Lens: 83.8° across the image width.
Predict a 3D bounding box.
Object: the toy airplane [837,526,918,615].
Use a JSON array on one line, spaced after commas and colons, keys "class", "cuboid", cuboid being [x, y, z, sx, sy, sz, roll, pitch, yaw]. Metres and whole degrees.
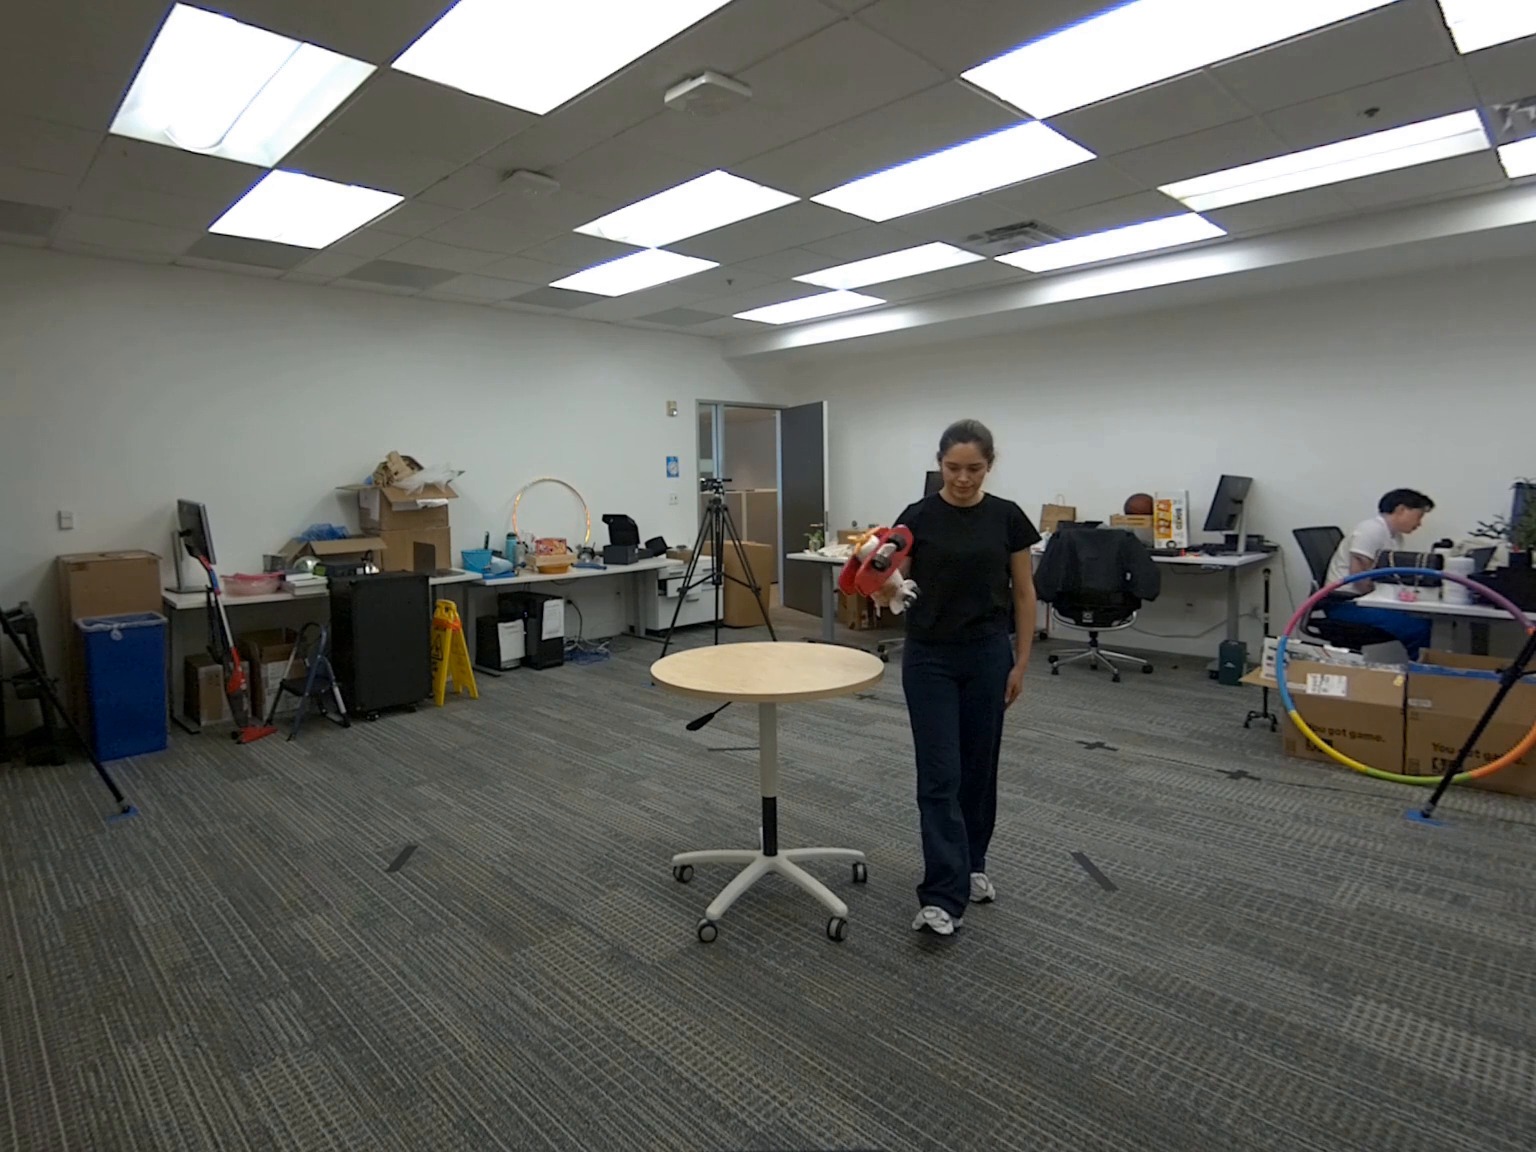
[{"class": "toy airplane", "cuboid": [0.325, -0.002, 2.512, 0.247, 0.255, 0.162, -19, 22, -34]}]
